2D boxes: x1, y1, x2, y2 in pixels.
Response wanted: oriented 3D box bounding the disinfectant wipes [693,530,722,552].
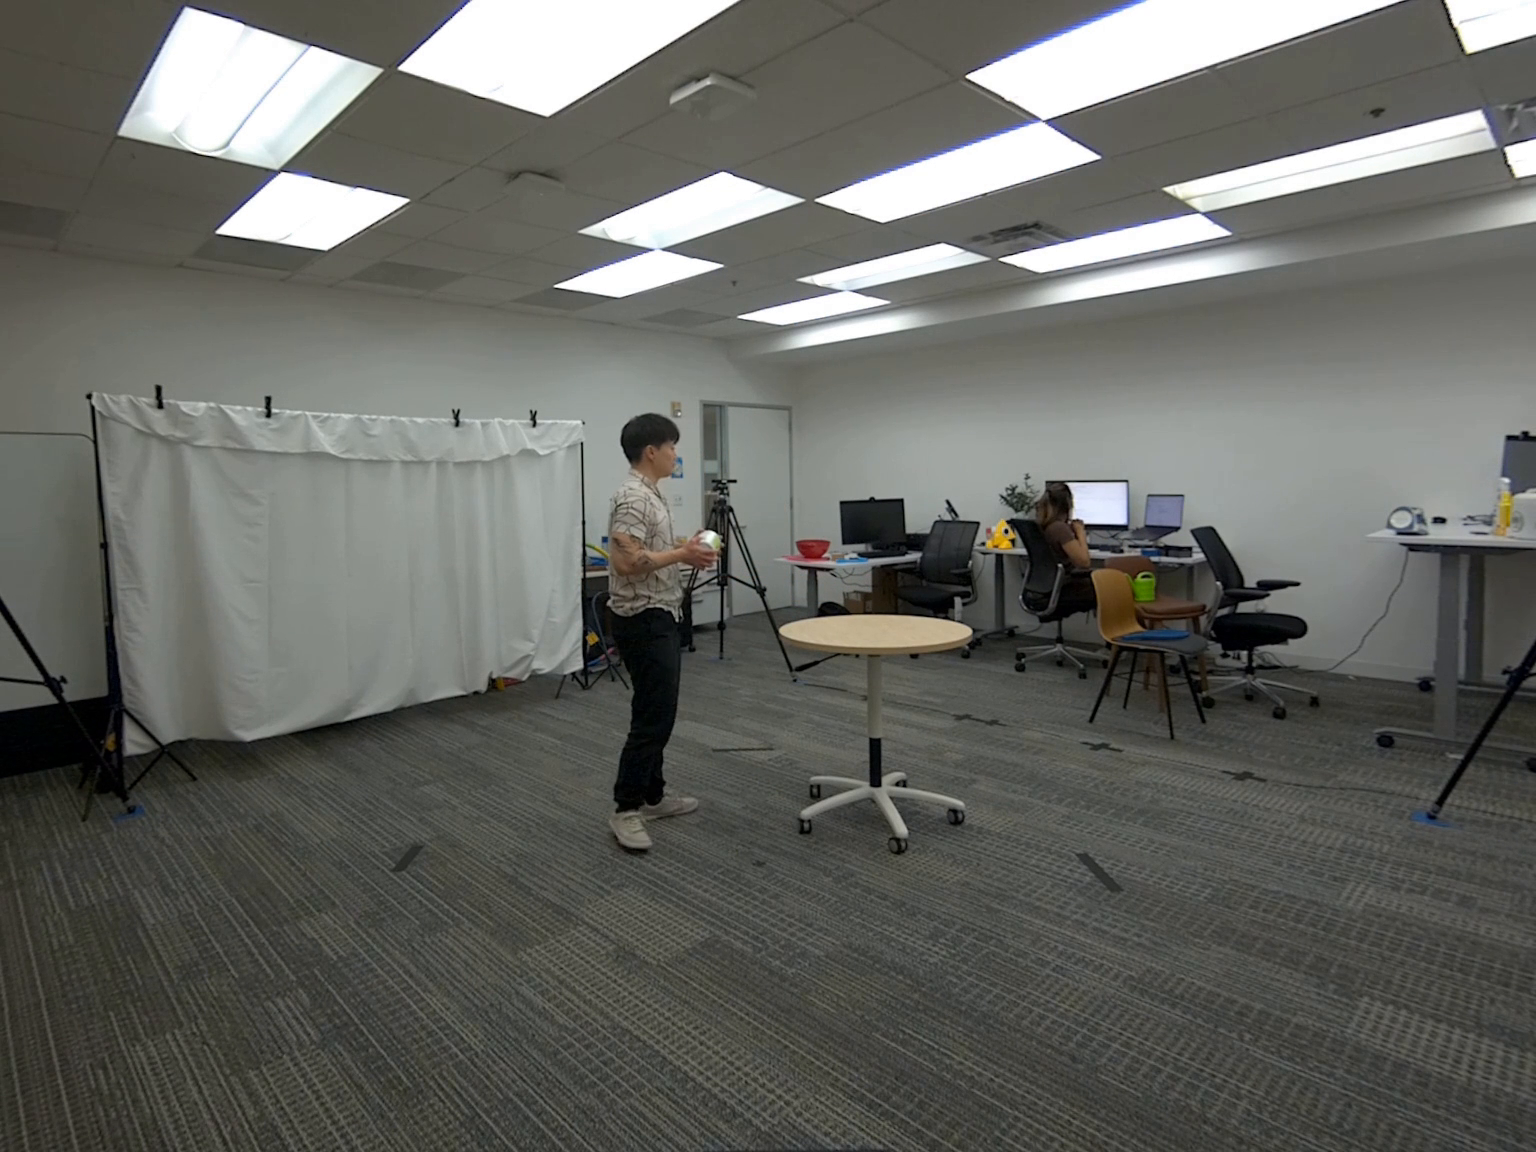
[{"bbox_3d":[-0.261,-0.110,3.468,0.118,0.116,0.219,-1,13,4],"label":"disinfectant wipes"}]
